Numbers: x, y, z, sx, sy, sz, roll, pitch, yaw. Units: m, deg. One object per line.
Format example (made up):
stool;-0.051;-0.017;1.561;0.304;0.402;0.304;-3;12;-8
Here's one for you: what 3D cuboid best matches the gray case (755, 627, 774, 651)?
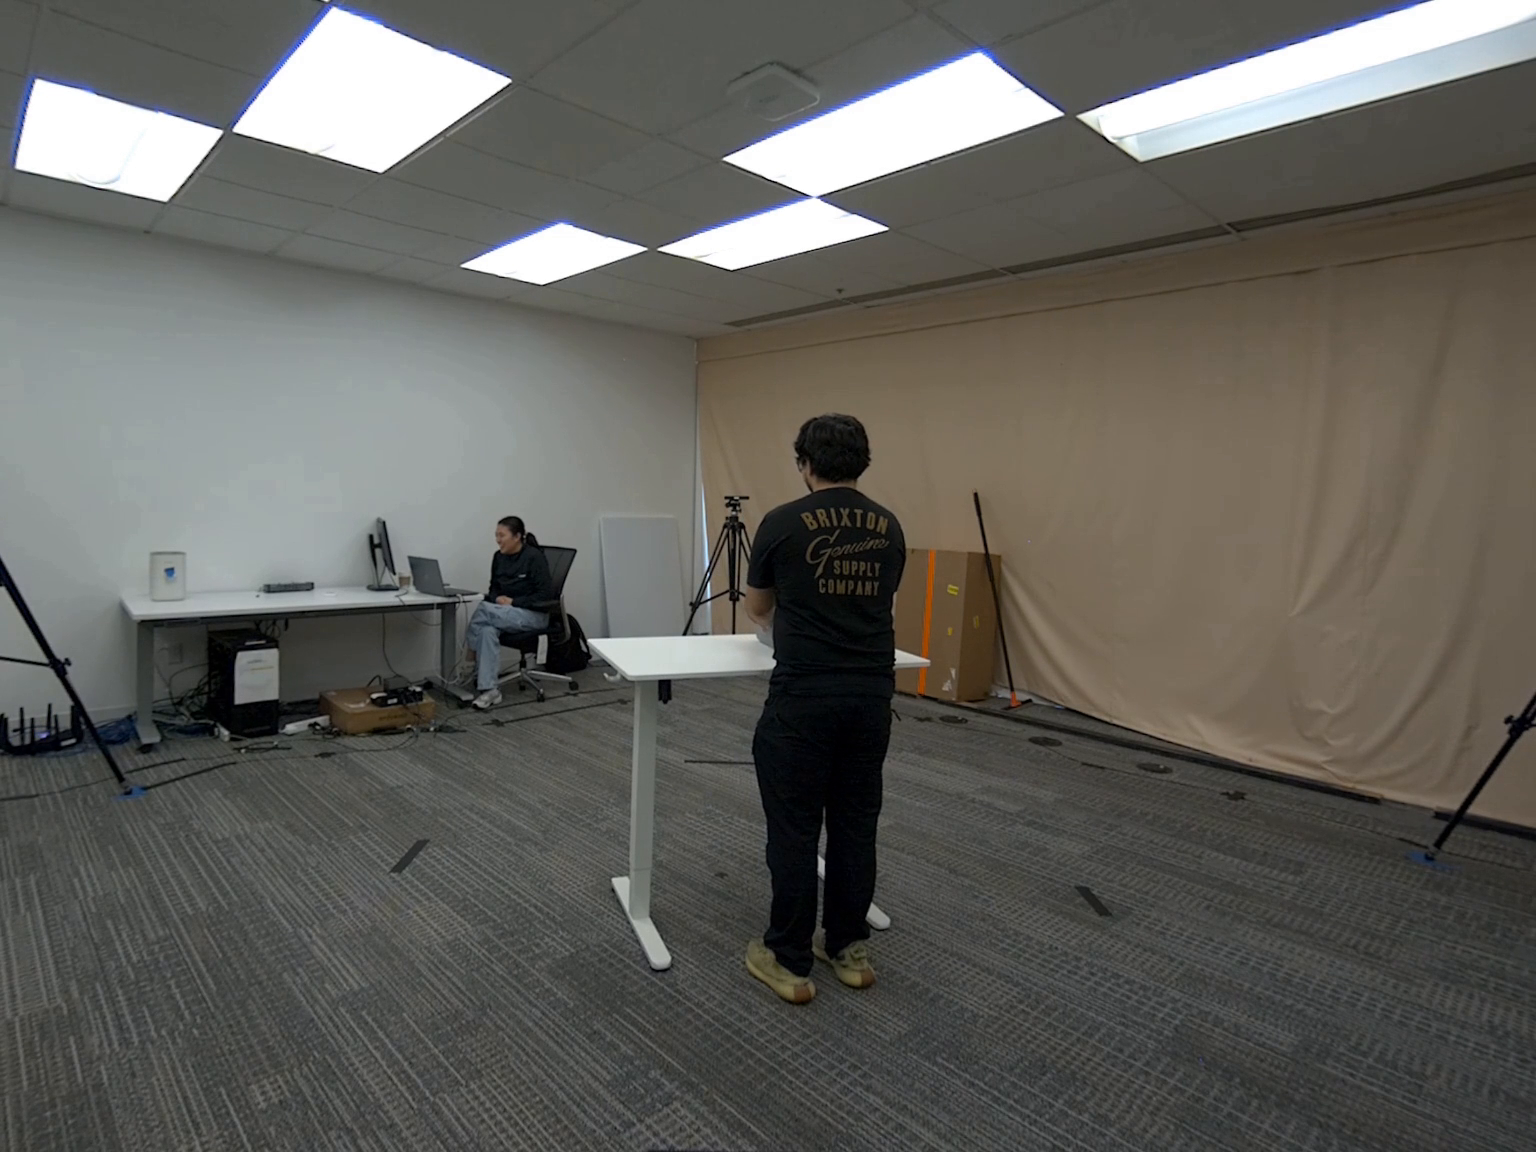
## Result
gray case;0.028;0.117;2.889;0.103;0.259;0.261;-9;8;-14
